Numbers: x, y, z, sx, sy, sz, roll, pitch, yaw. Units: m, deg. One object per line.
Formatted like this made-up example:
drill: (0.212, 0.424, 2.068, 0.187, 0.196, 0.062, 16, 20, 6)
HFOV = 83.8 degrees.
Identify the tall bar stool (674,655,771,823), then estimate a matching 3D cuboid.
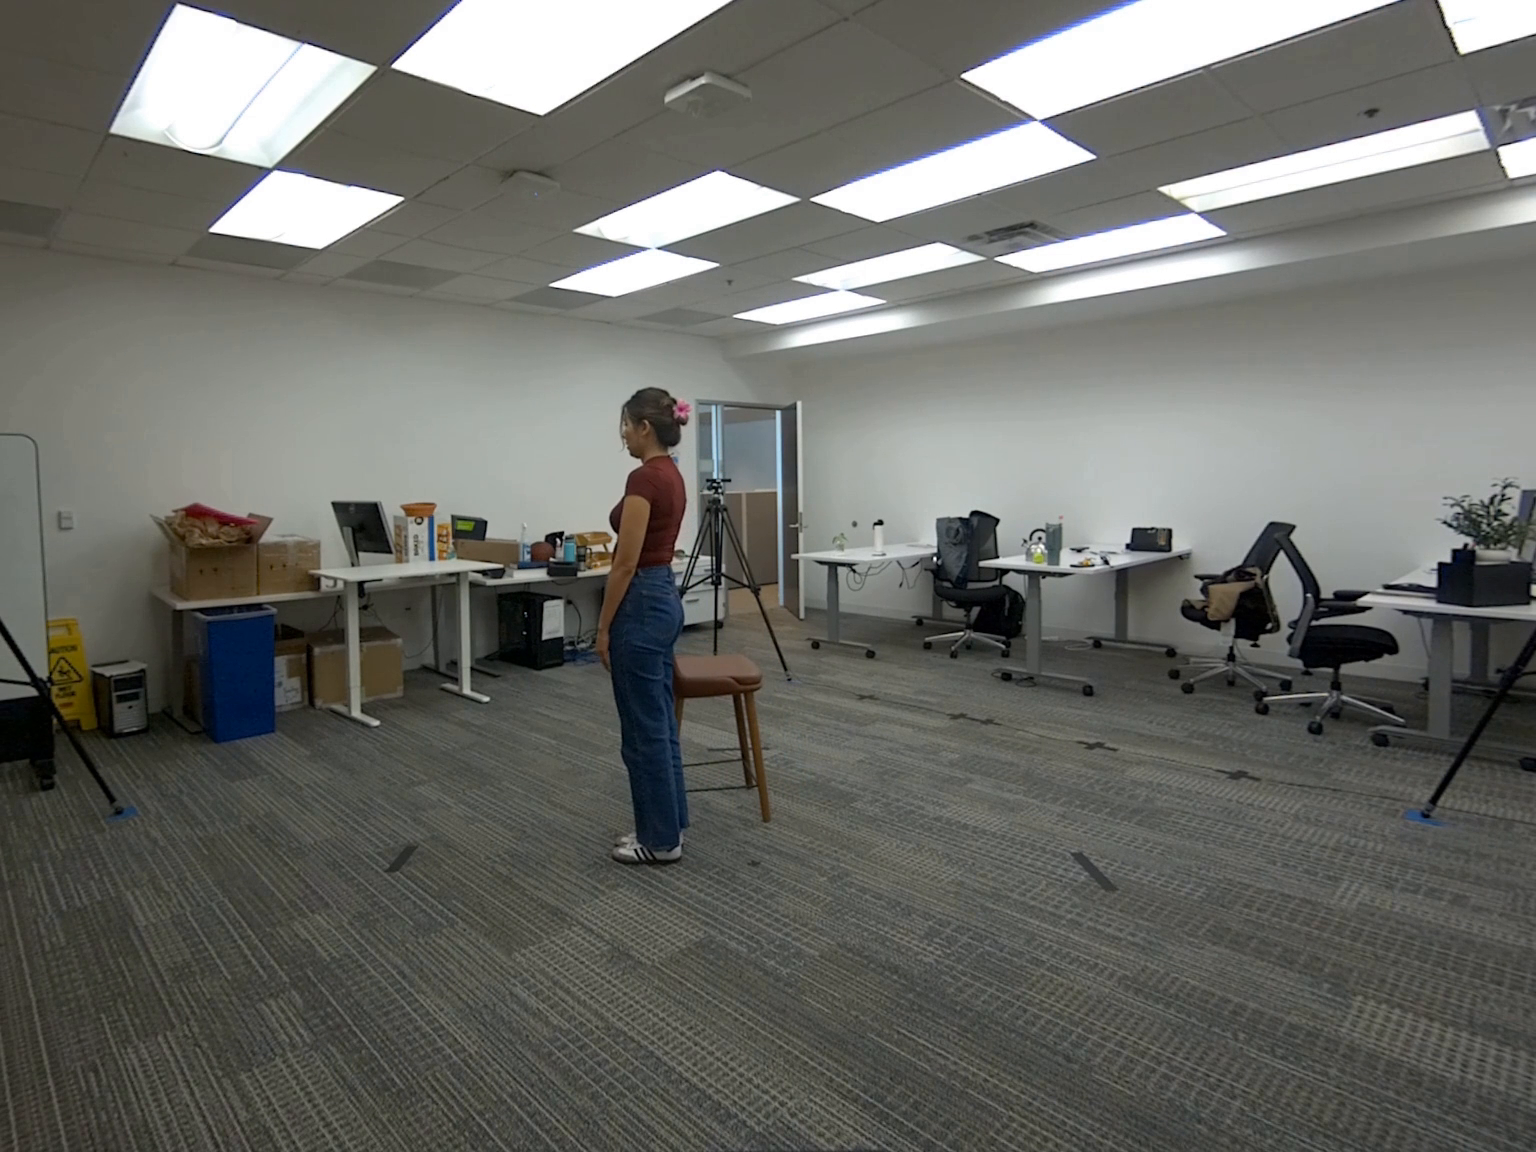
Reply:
tall bar stool: (-0.267, 0.557, 3.619, 0.463, 0.887, 0.462, -4, 4, -11)
